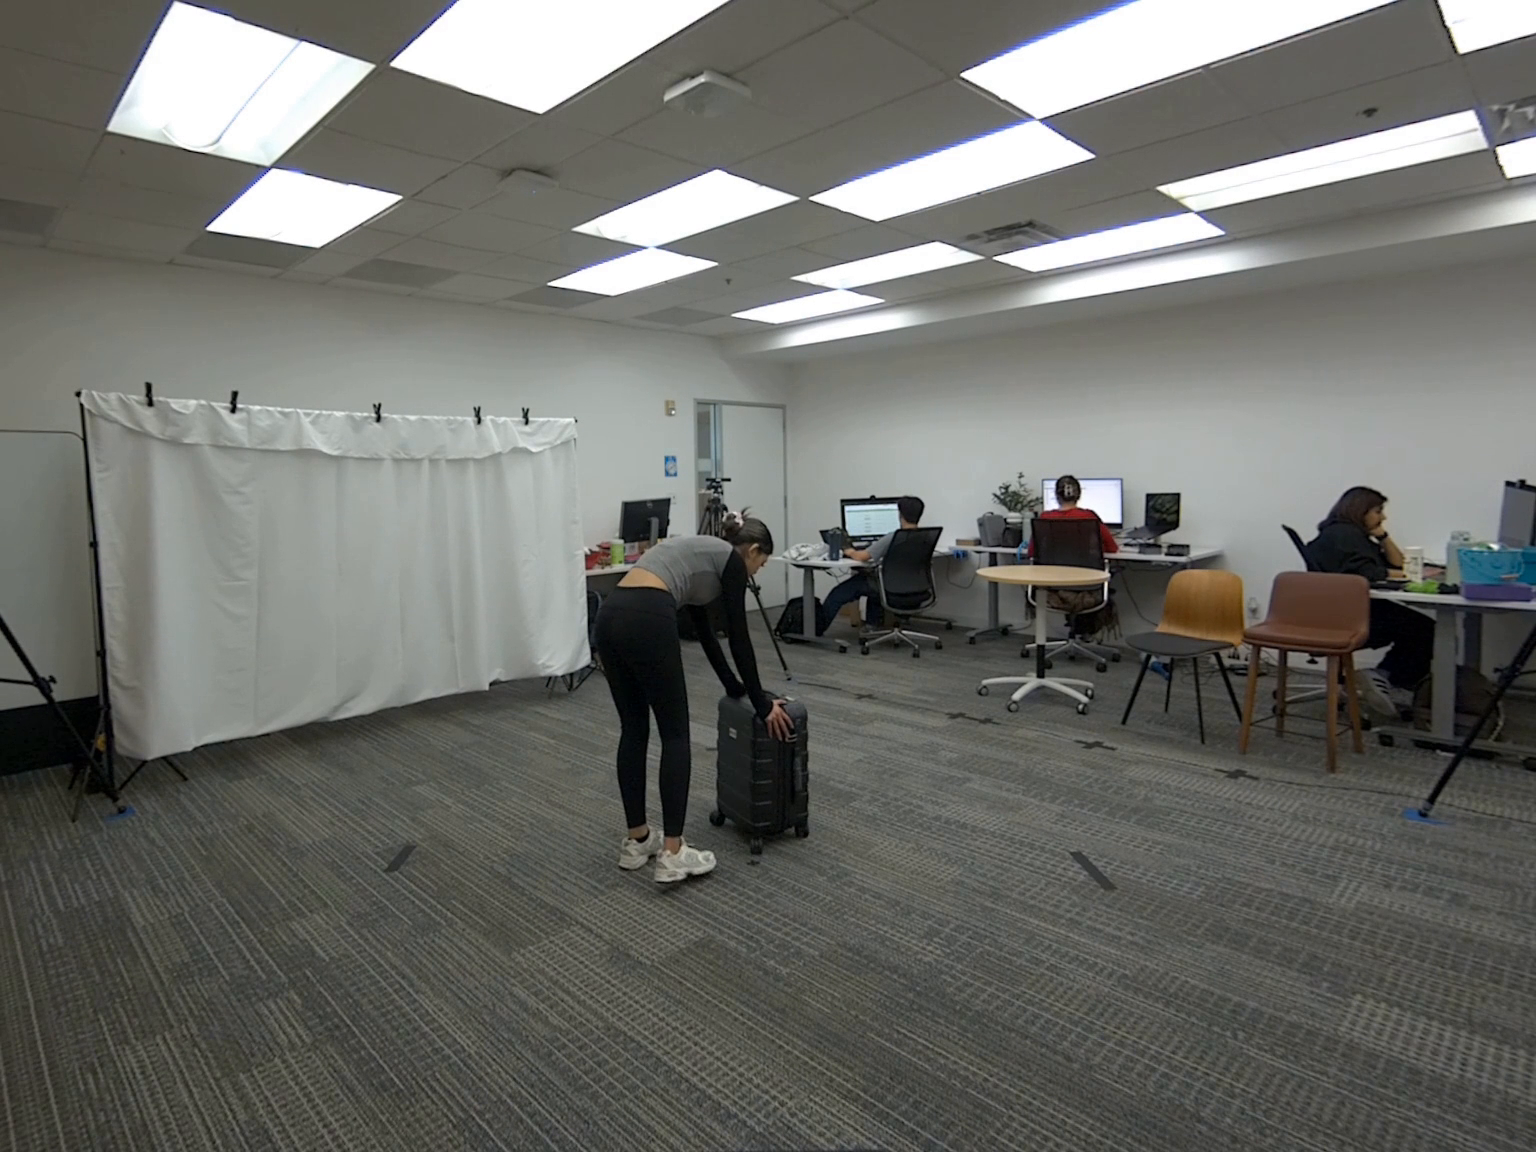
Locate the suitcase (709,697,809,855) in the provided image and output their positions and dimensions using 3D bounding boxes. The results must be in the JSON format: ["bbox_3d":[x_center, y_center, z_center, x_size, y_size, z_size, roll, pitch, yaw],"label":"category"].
[{"bbox_3d":[-0.020,0.736,3.374,0.242,0.547,0.386,-2,5,-30],"label":"suitcase"}]
